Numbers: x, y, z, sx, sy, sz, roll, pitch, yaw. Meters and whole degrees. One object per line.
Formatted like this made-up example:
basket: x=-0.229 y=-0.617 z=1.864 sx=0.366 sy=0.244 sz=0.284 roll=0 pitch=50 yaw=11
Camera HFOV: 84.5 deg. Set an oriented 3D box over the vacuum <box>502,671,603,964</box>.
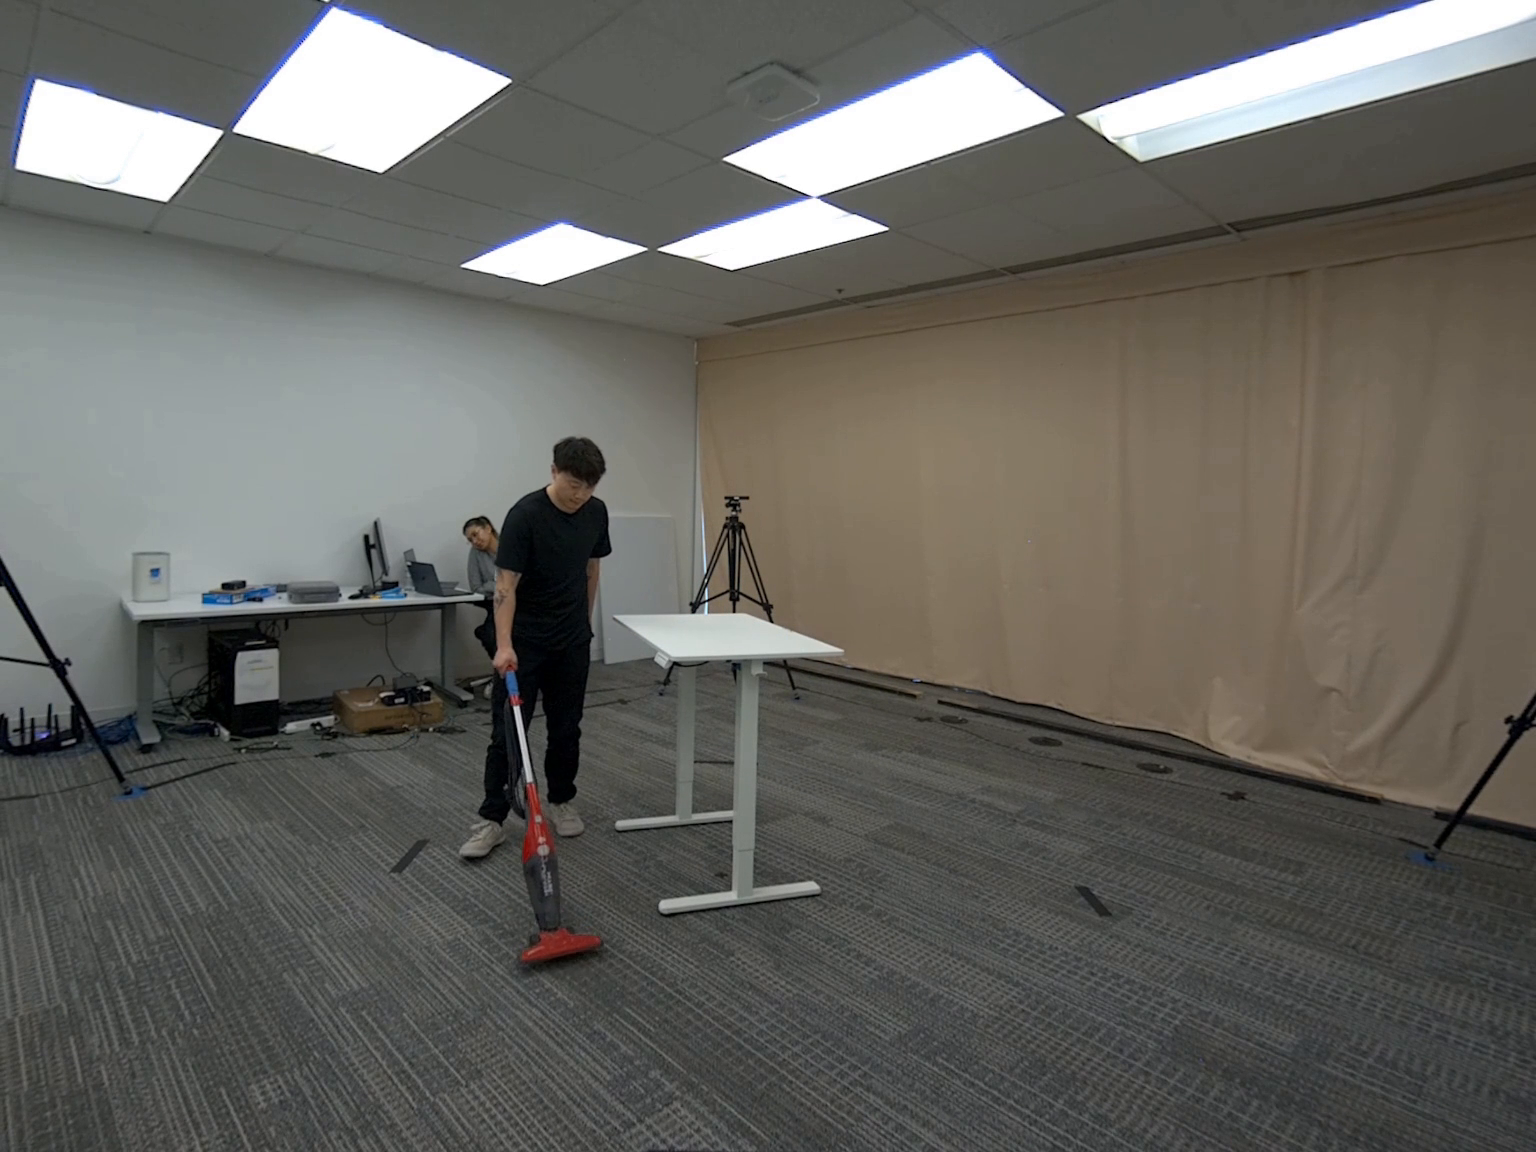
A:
vacuum: x=-0.822 y=0.732 z=2.835 sx=0.247 sy=0.143 sz=1.079 roll=2 pitch=47 yaw=-31
